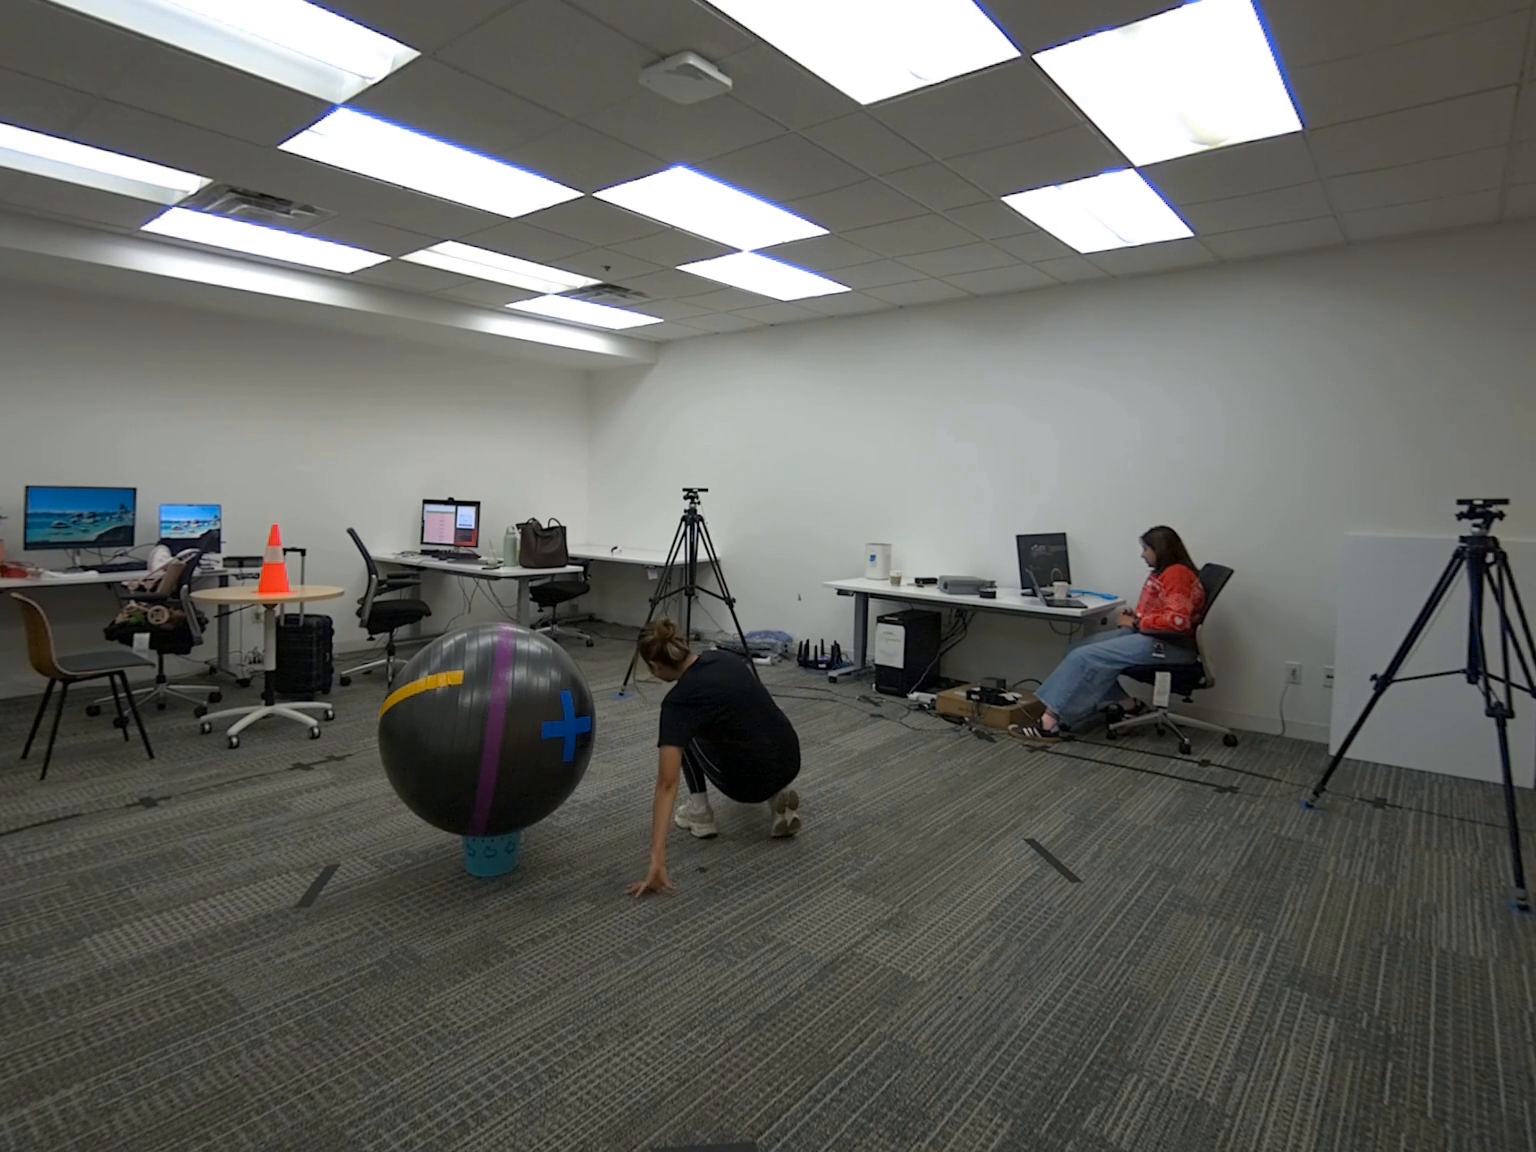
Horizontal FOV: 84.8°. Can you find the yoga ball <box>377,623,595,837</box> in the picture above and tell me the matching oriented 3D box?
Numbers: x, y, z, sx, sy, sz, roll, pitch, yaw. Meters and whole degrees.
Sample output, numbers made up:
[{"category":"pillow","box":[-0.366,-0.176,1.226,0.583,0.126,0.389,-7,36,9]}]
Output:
[{"category":"yoga ball","box":[-1.025,0.554,3.078,0.757,0.756,0.762,1,4,-2]}]
